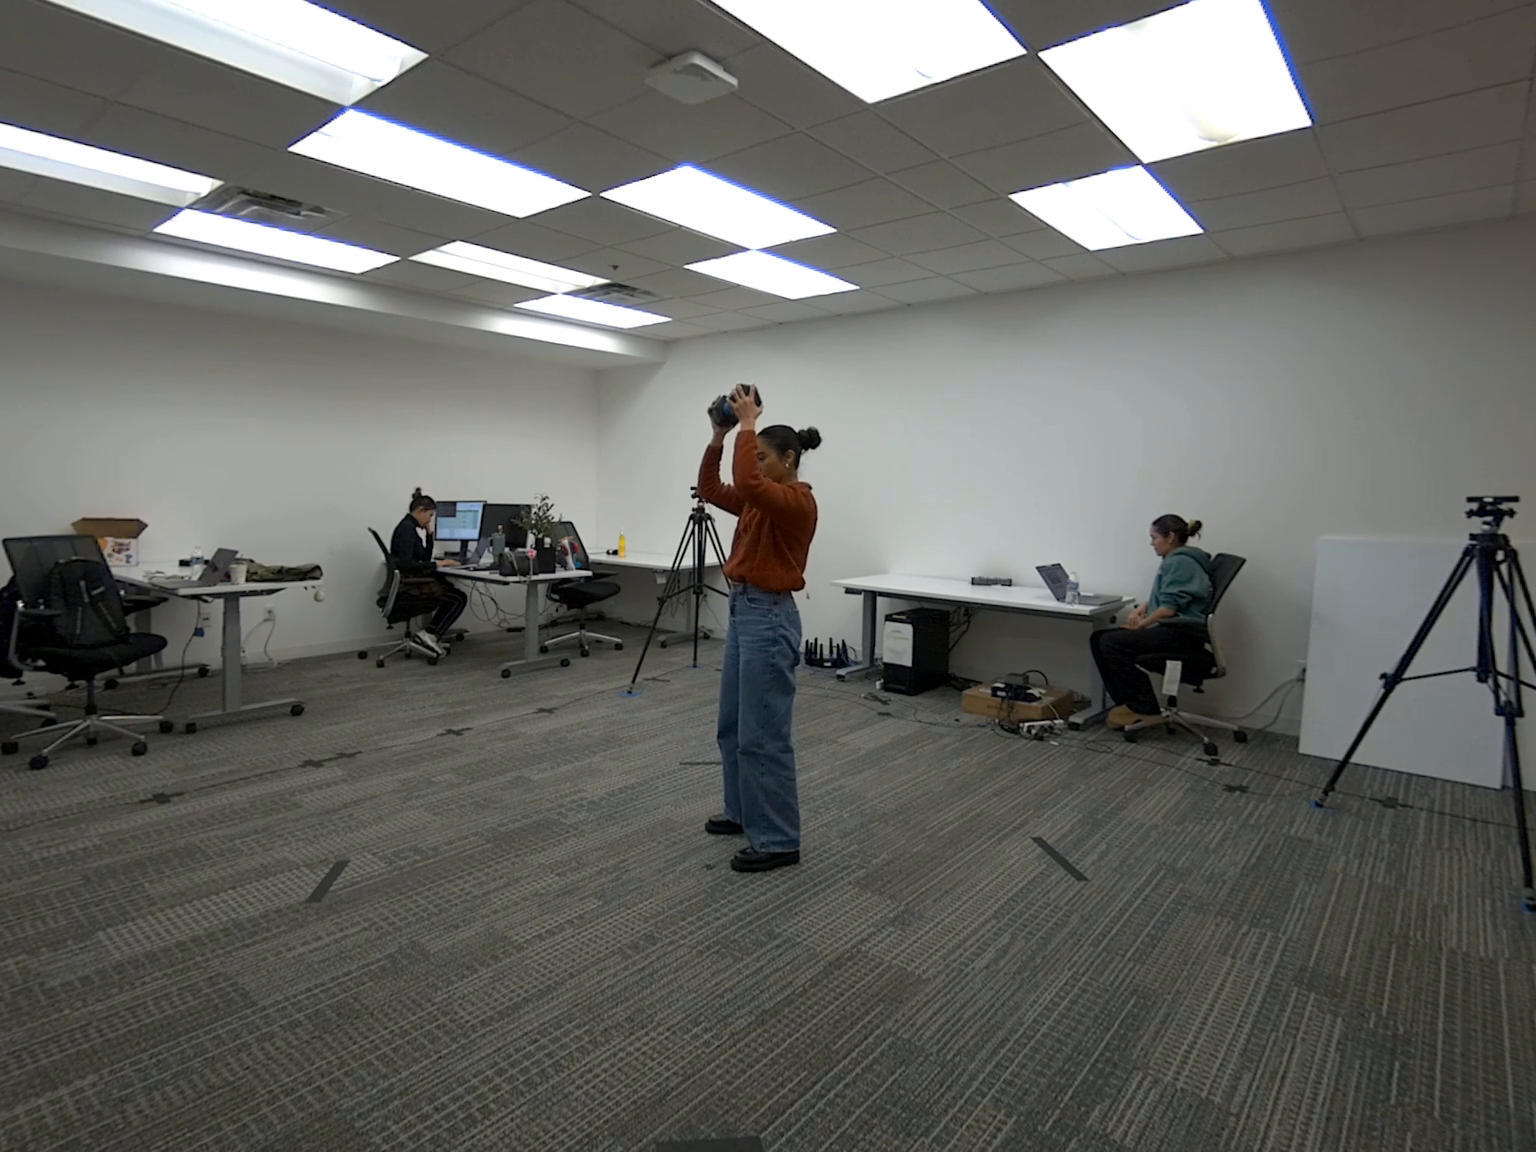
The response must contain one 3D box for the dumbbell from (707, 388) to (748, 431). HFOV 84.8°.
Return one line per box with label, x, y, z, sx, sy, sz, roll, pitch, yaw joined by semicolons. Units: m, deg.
dumbbell;-0.136;-0.643;3.227;0.107;0.123;0.298;43;-12;-13
